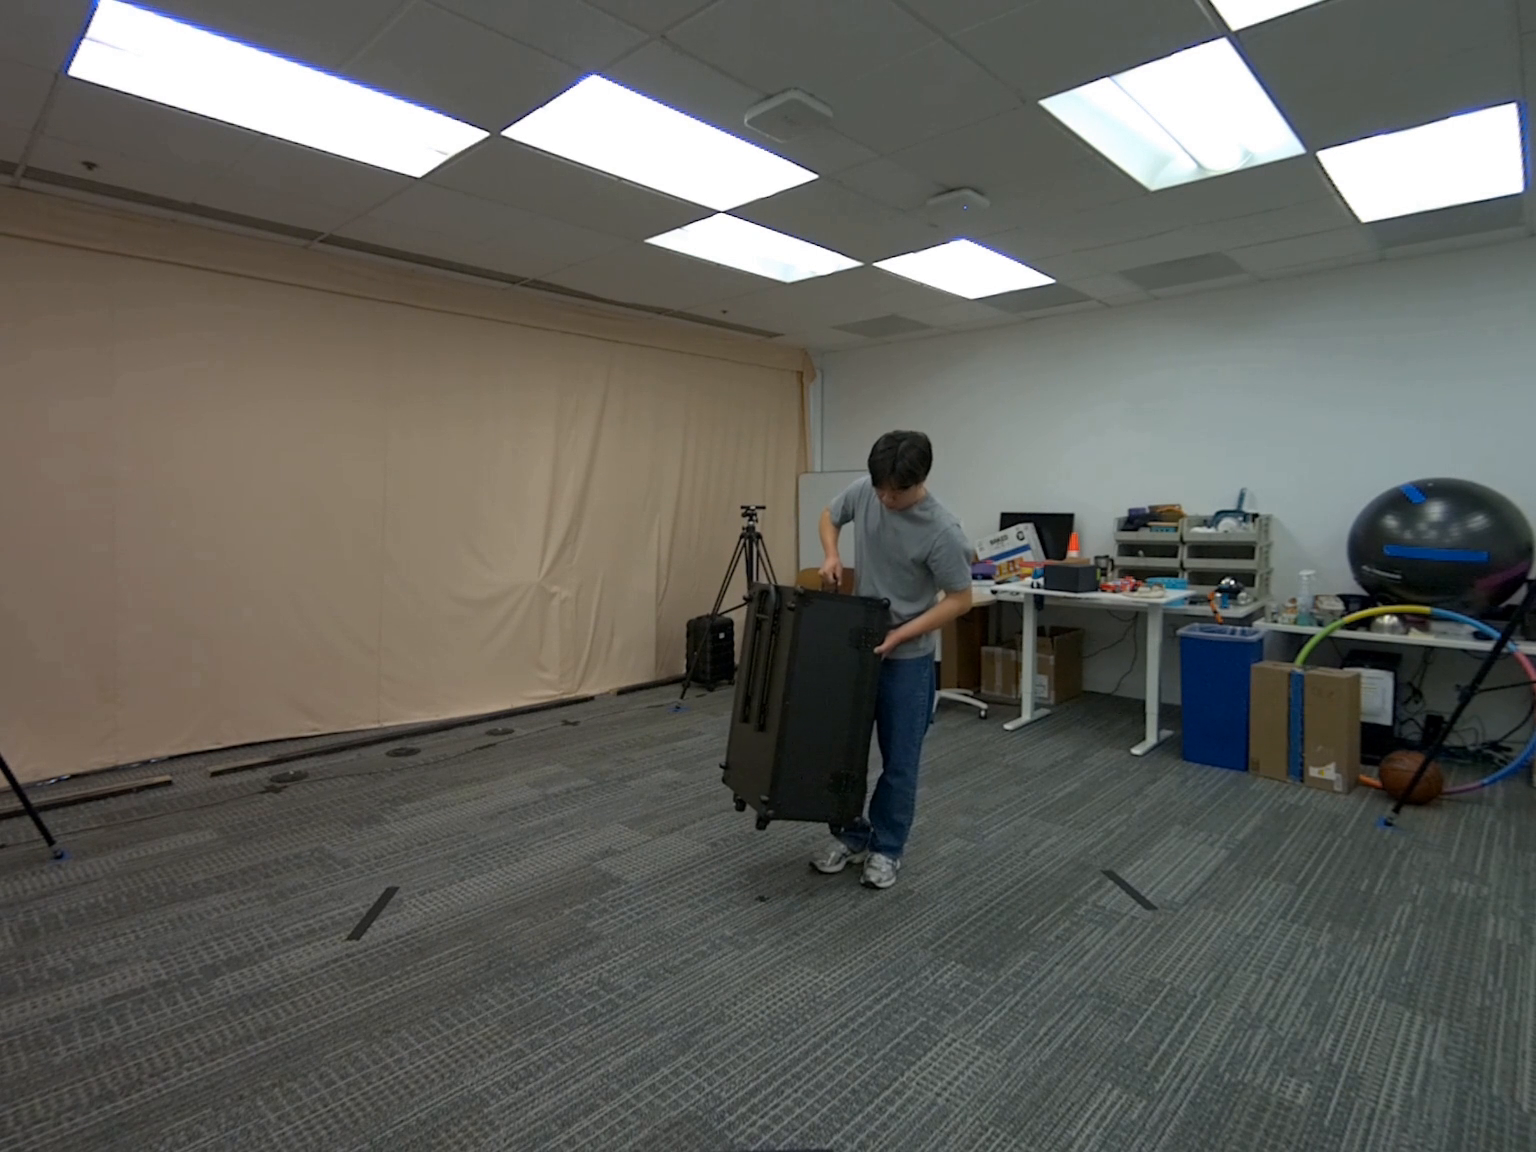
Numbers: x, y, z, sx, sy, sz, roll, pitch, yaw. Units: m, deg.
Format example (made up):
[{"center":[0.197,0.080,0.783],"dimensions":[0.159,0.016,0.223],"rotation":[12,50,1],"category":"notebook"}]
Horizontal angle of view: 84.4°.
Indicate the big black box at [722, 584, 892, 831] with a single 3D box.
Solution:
[{"center":[0.113,0.413,3.098],"dimensions":[0.388,0.862,0.531],"rotation":[9,-3,-19],"category":"big black box"}]
